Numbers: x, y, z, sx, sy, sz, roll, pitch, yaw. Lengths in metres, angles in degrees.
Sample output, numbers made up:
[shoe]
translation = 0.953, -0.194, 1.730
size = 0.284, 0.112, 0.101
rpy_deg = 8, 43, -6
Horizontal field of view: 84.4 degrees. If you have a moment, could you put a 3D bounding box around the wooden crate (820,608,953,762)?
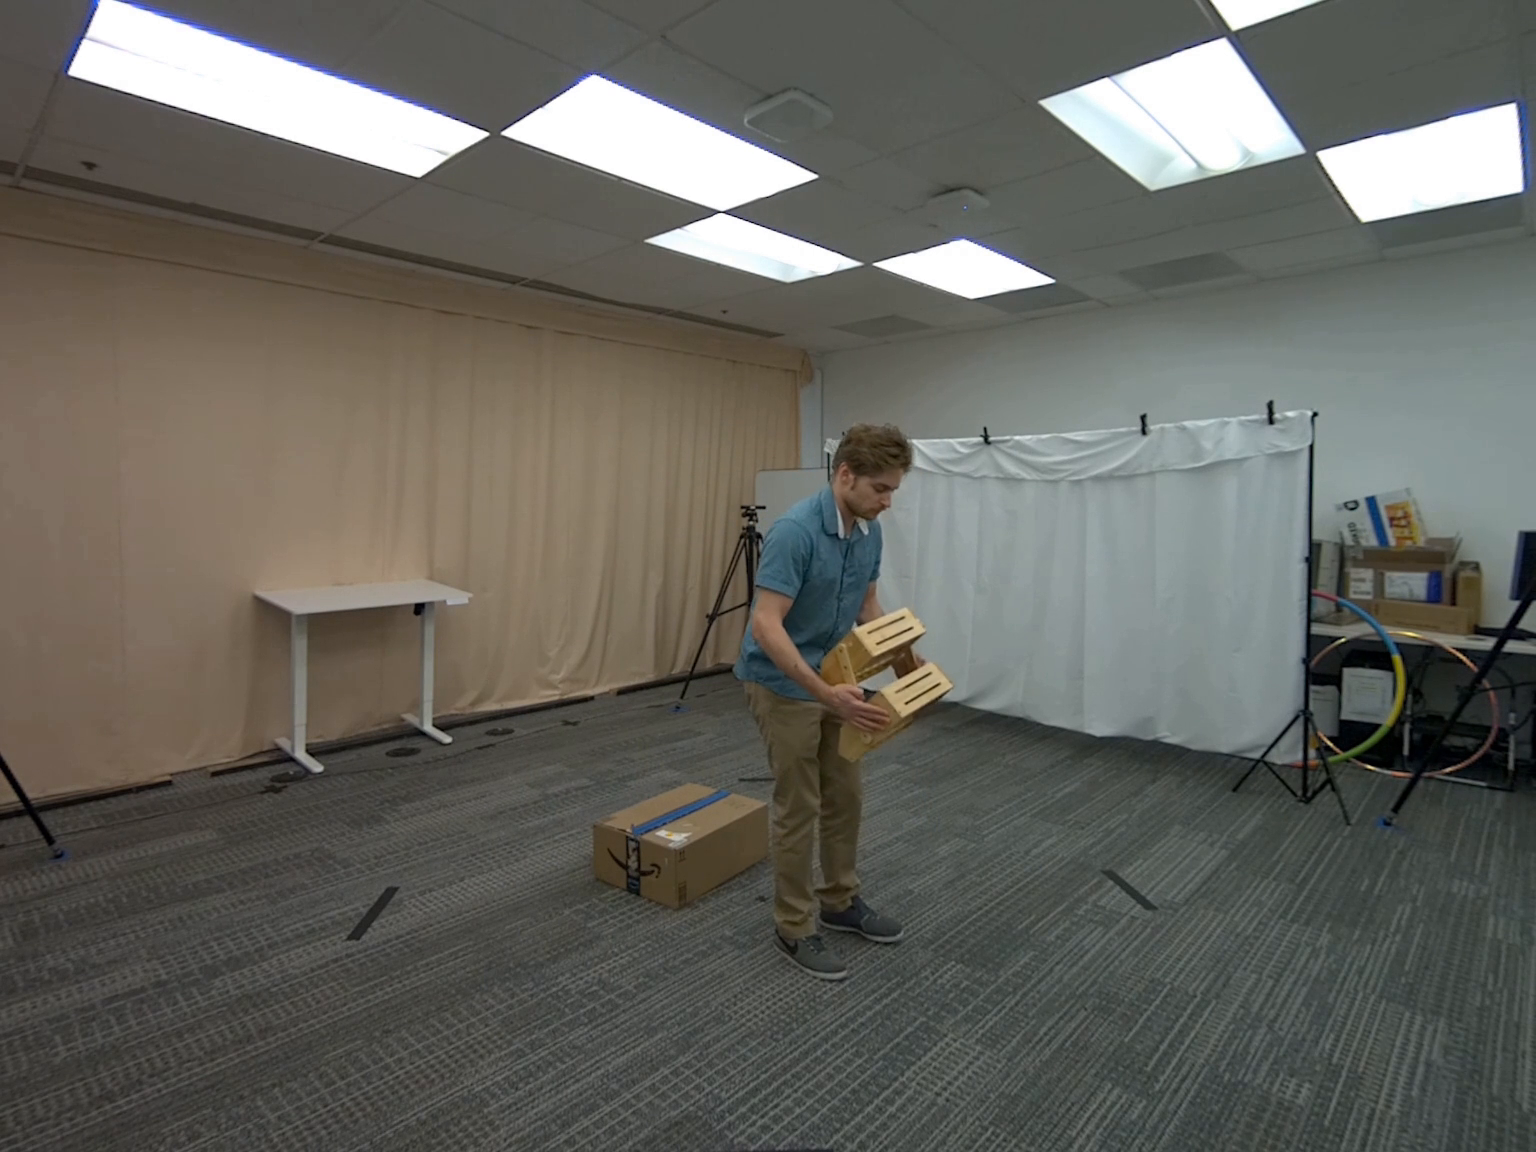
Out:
[wooden crate]
translation = 0.314, 0.309, 2.419
size = 0.316, 0.279, 0.303
rpy_deg = -15, -29, -49
